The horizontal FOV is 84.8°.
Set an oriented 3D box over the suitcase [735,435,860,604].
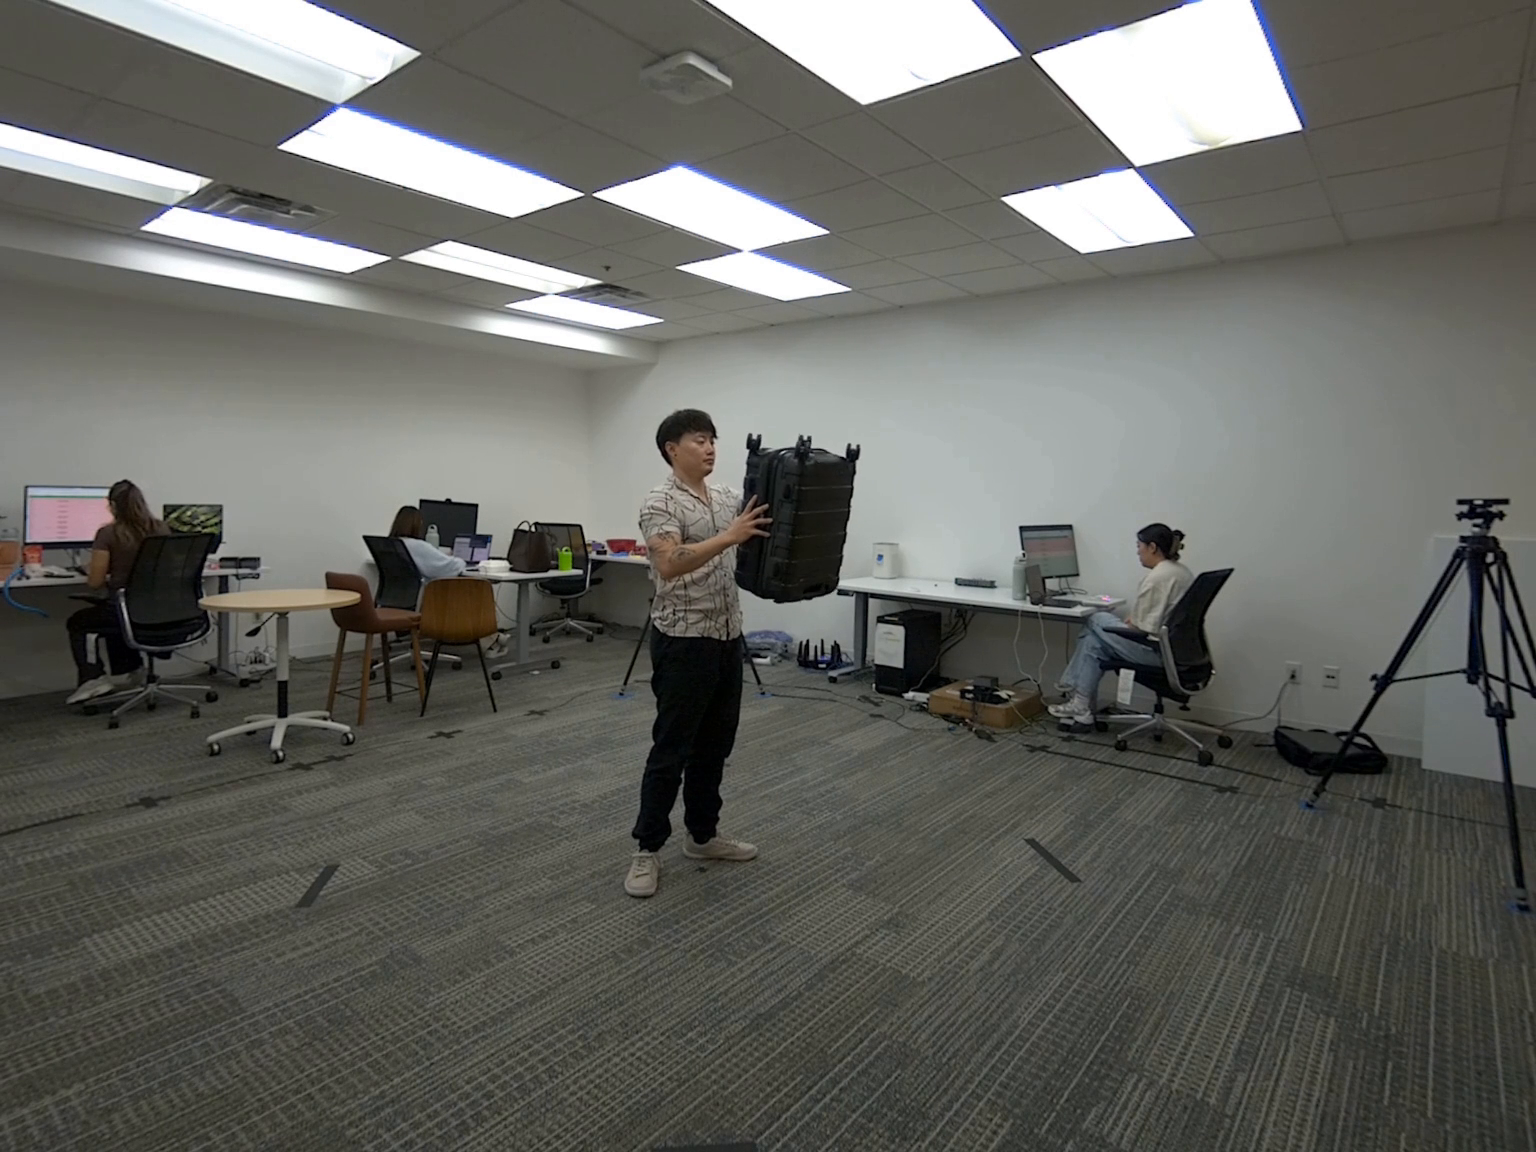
[{"bbox_3d":[0.085,-0.198,2.895,0.257,0.544,0.365,16,15,36],"label":"suitcase"}]
